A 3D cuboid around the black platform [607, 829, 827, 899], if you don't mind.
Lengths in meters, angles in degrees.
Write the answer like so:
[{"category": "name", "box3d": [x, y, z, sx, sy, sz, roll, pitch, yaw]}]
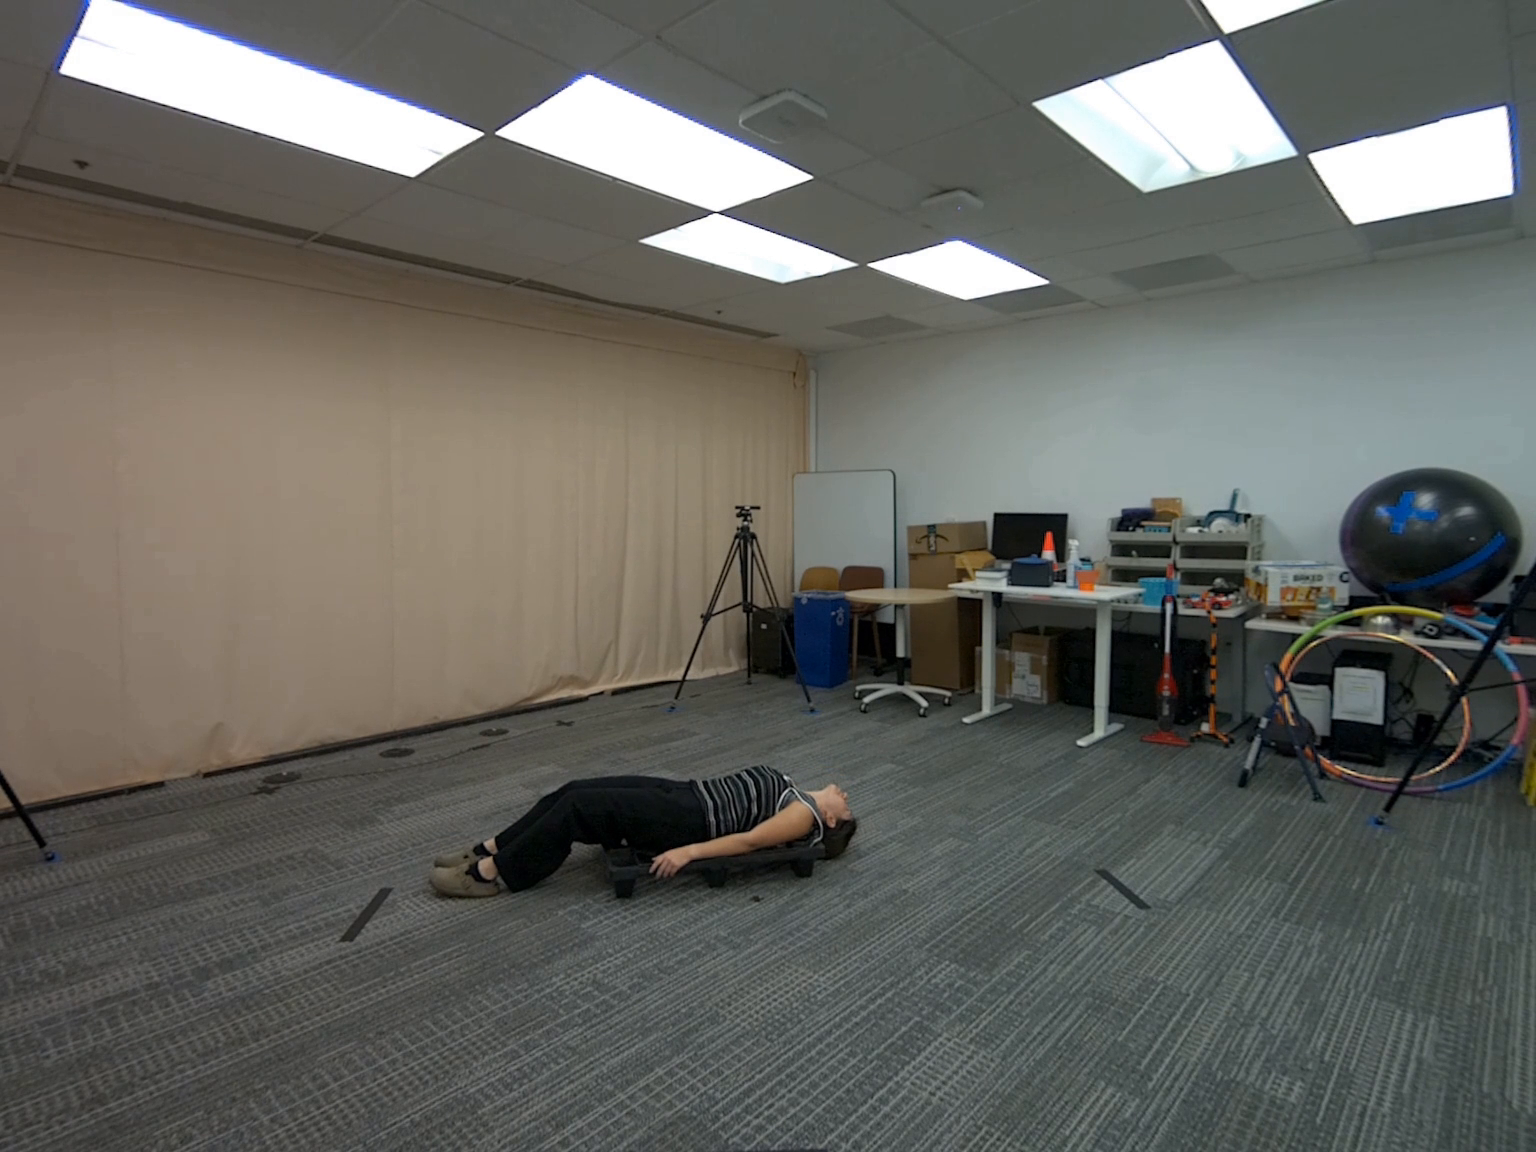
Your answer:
[{"category": "black platform", "box3d": [-0.263, 1.053, 3.304, 0.793, 0.143, 0.616, -2, 6, -15]}]
